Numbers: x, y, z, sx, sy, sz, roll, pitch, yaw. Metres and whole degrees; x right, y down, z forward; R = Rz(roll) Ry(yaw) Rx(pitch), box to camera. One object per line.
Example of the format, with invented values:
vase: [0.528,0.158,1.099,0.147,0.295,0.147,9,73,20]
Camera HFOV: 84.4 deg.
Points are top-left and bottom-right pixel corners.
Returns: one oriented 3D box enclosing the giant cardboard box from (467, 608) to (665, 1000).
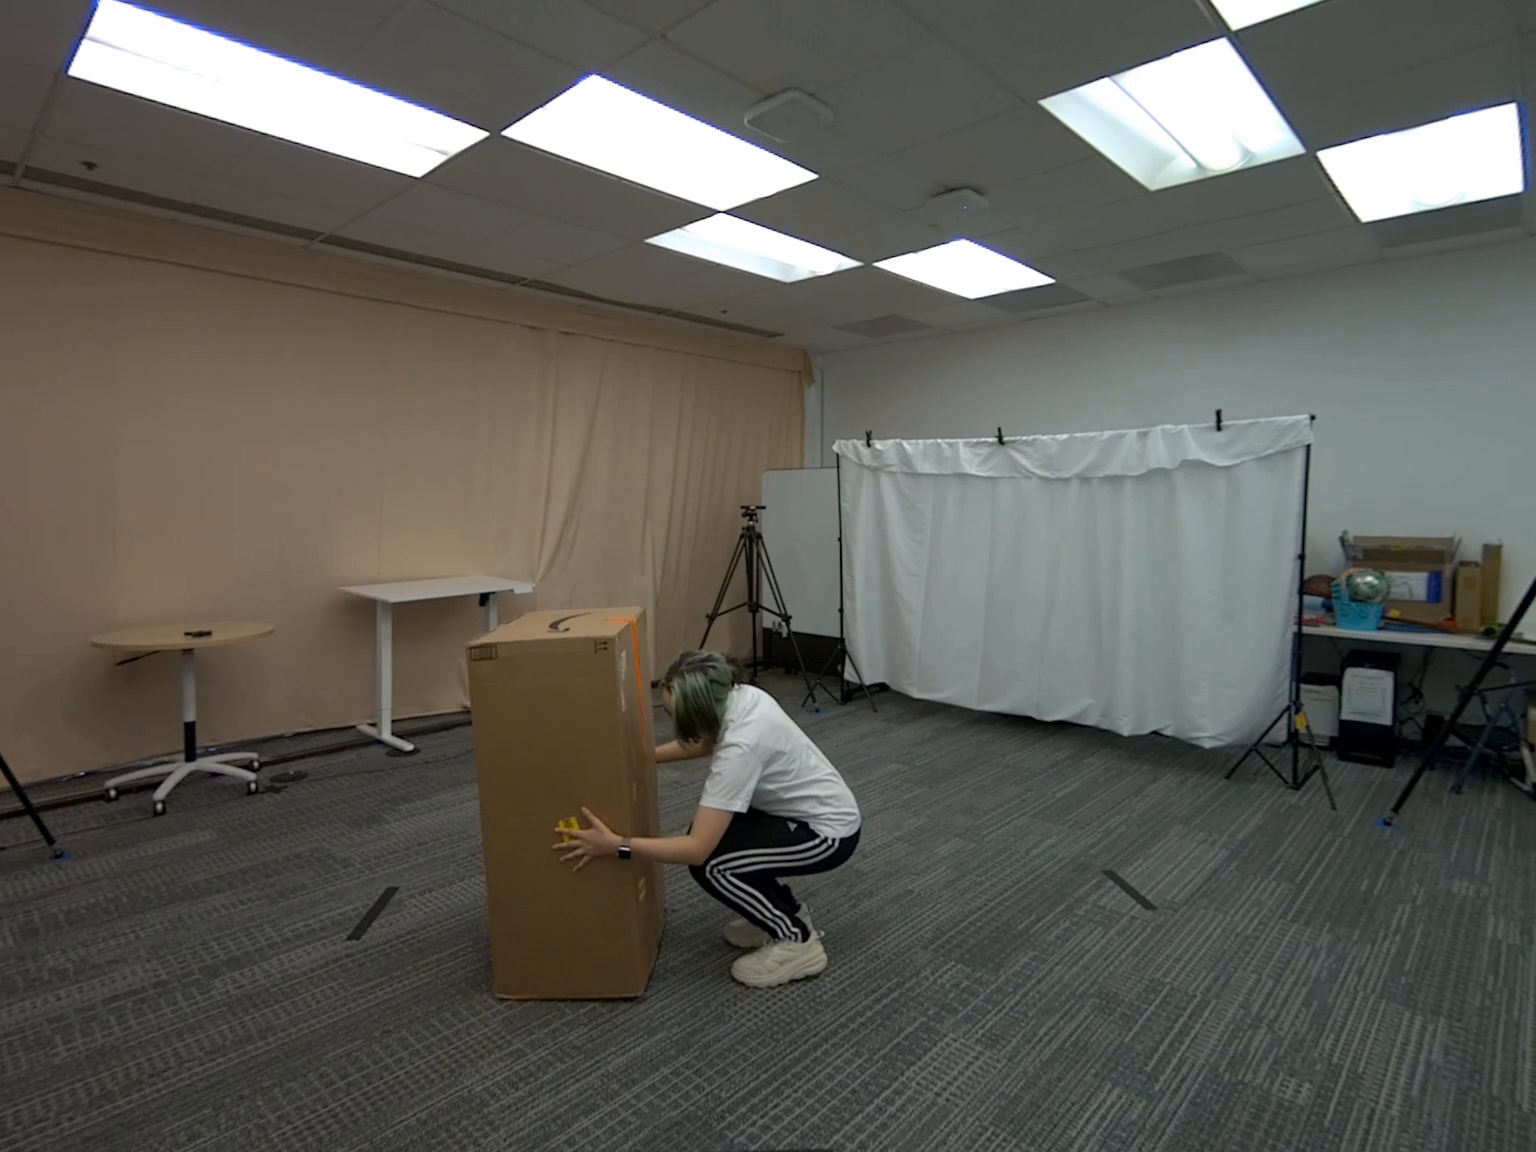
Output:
giant cardboard box: [-0.589,0.652,2.620,0.448,1.024,0.584,-4,4,1]
